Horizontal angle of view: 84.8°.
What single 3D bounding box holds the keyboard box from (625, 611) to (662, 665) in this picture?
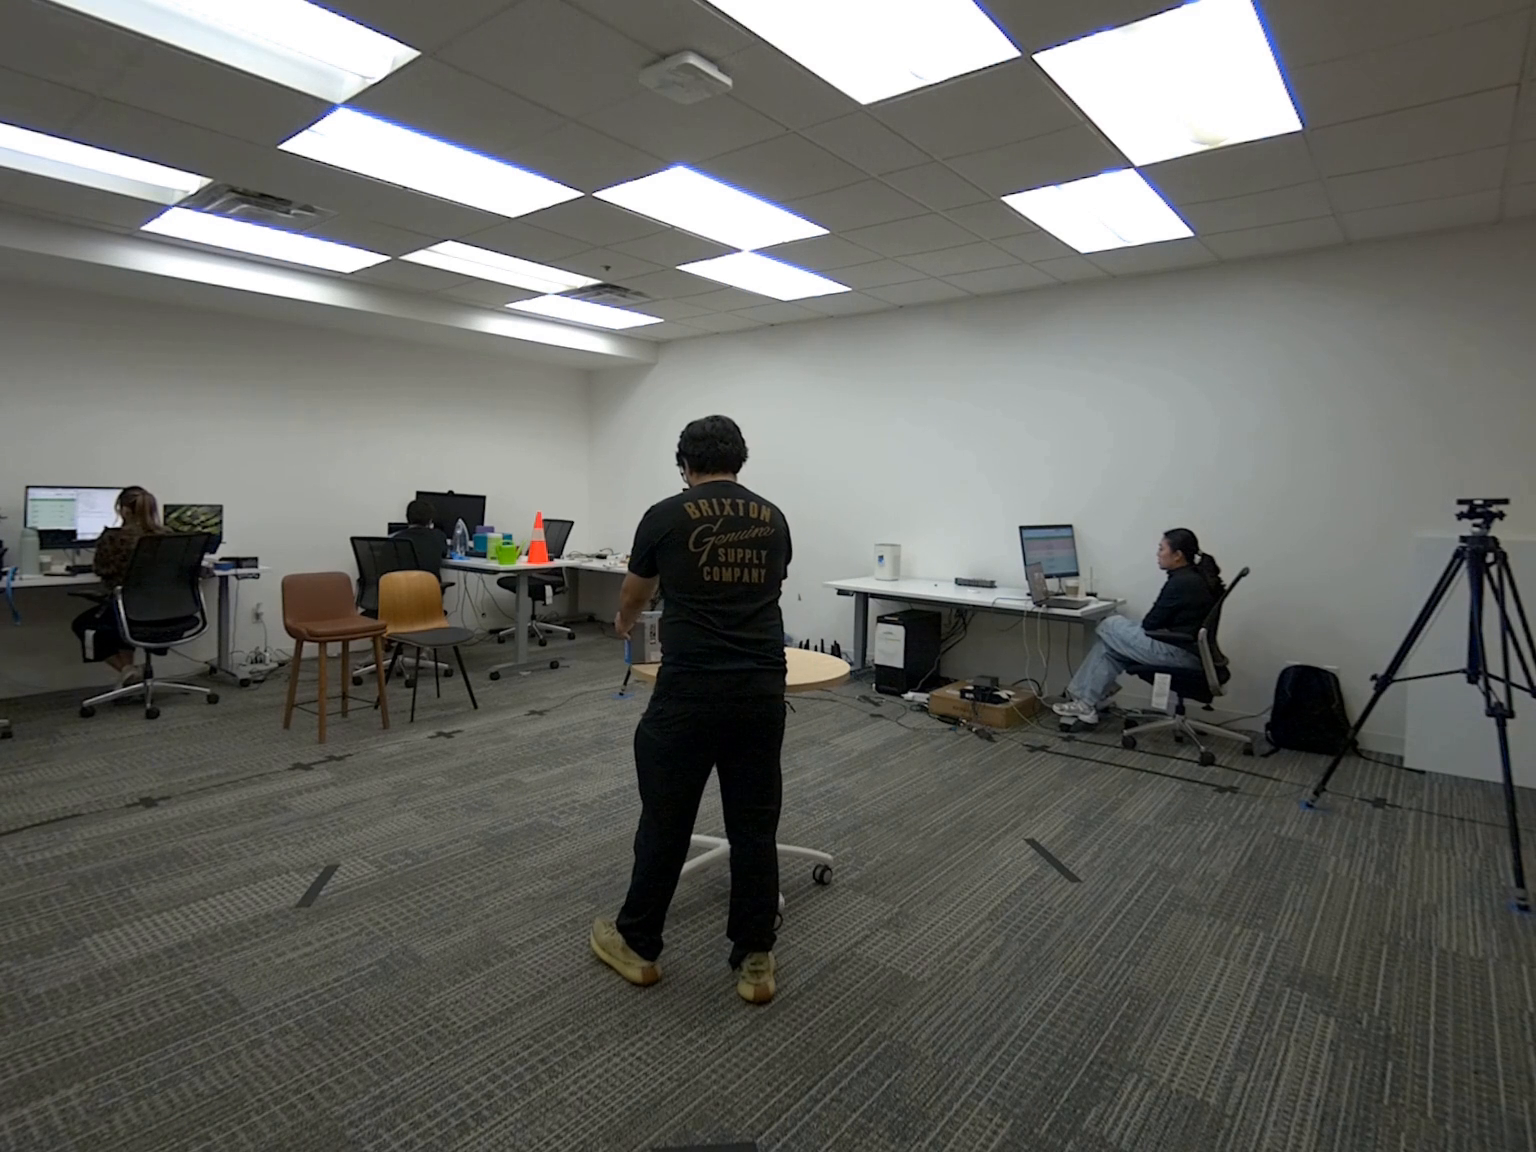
[{"bbox_3d":[-0.291,0.211,3.000,0.427,0.176,0.060,0,0,-23],"label":"keyboard box"}]
